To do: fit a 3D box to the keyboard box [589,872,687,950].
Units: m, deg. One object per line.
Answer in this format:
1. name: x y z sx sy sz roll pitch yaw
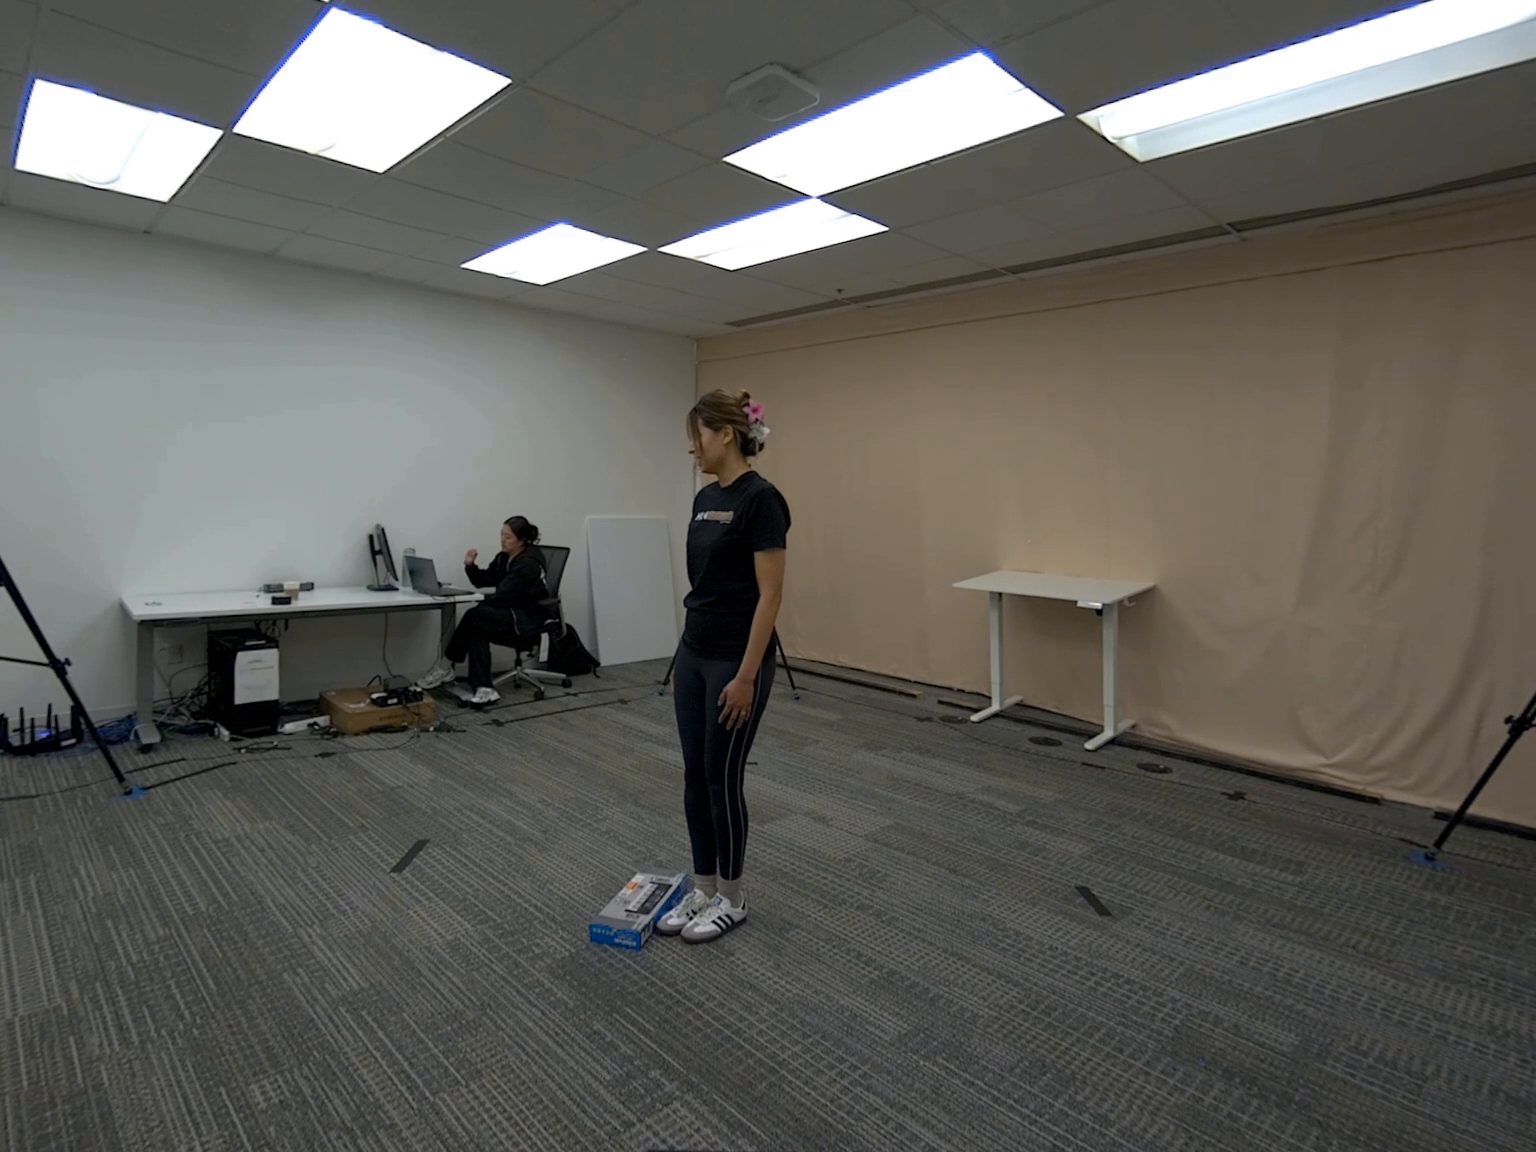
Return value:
1. keyboard box: -0.424 1.095 2.800 0.178 0.059 0.432 2 5 15
